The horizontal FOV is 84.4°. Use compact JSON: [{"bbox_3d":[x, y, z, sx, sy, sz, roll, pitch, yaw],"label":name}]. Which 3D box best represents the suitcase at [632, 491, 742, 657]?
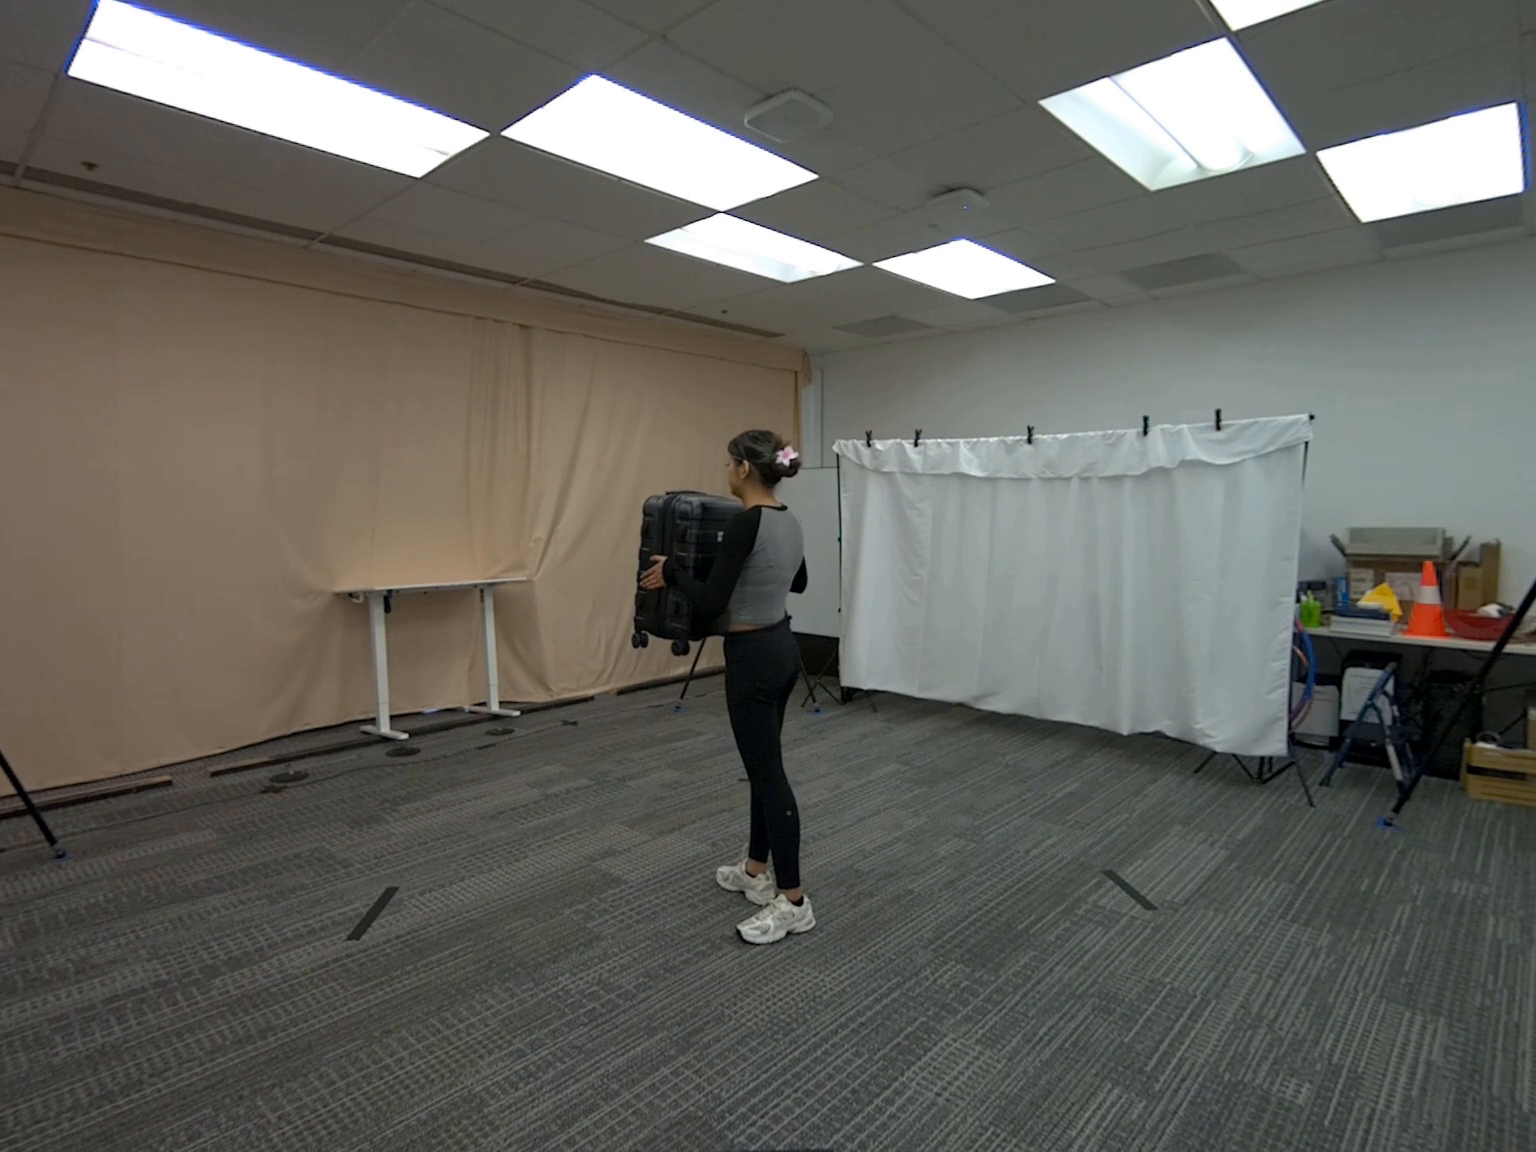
[{"bbox_3d":[-0.269,-0.022,2.987,0.256,0.548,0.364,7,4,32],"label":"suitcase"}]
